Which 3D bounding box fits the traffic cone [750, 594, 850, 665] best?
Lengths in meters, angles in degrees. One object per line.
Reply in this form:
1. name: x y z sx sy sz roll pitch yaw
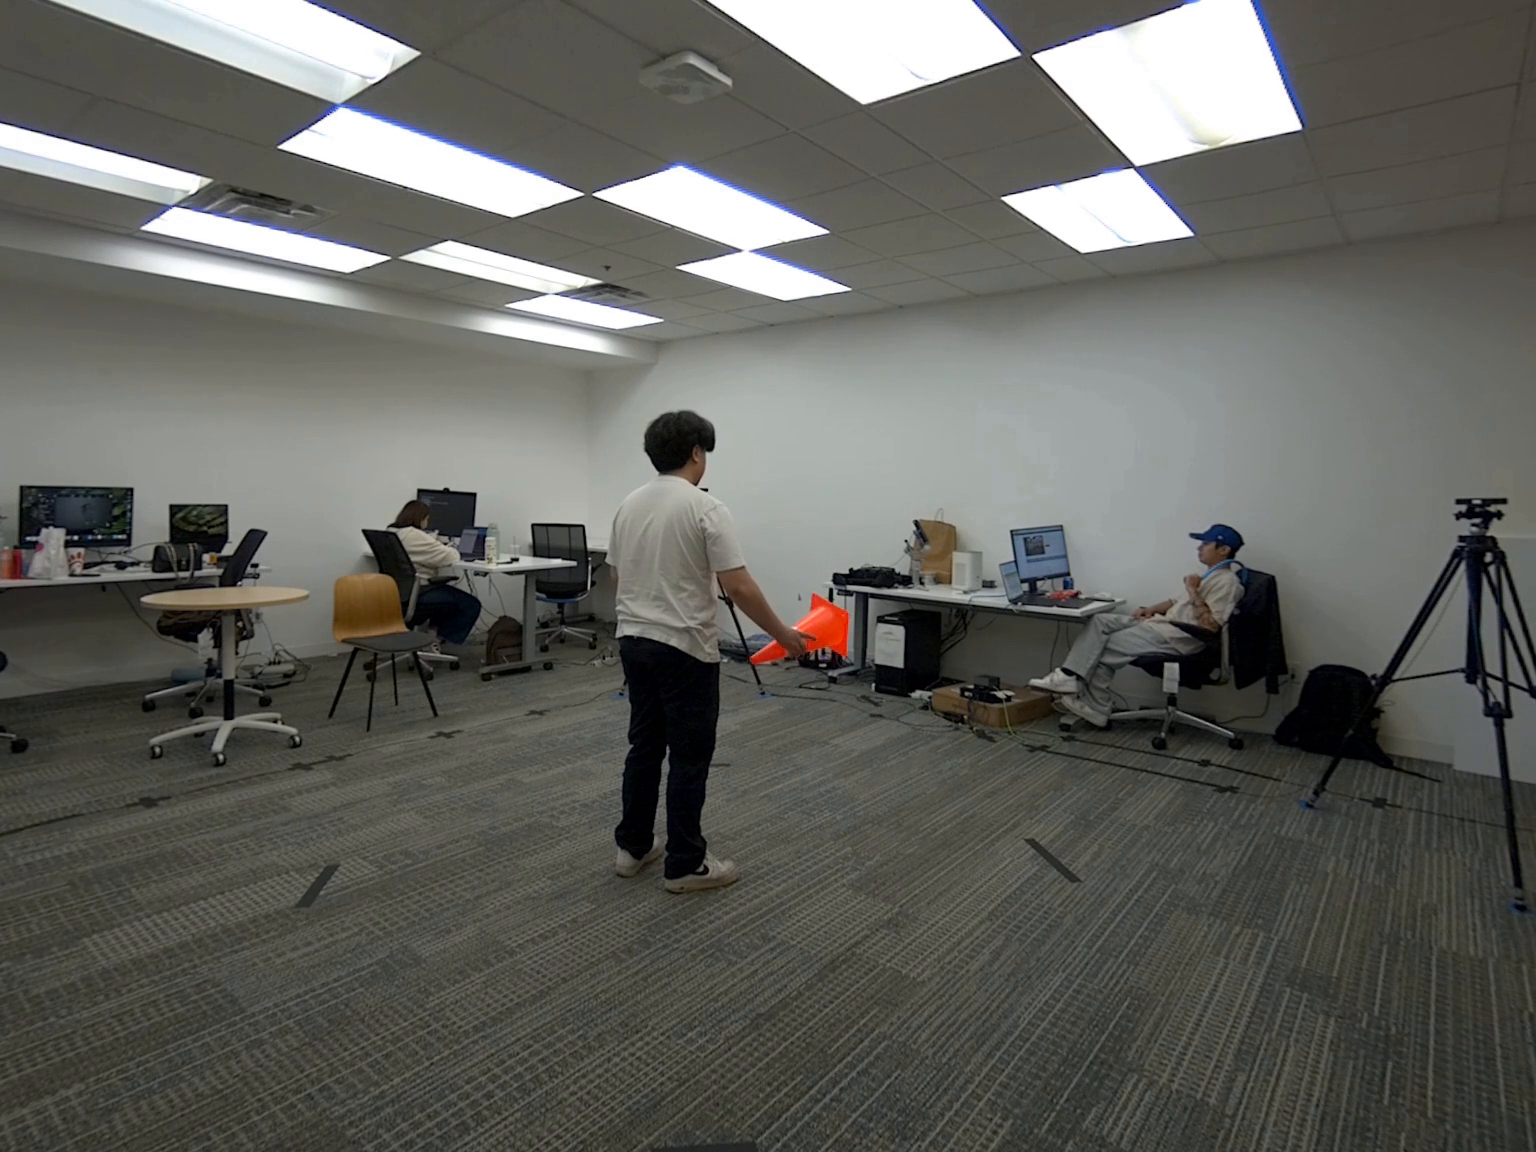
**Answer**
1. traffic cone: 0.078 0.250 3.112 0.377 0.200 0.212 -22 32 -31
